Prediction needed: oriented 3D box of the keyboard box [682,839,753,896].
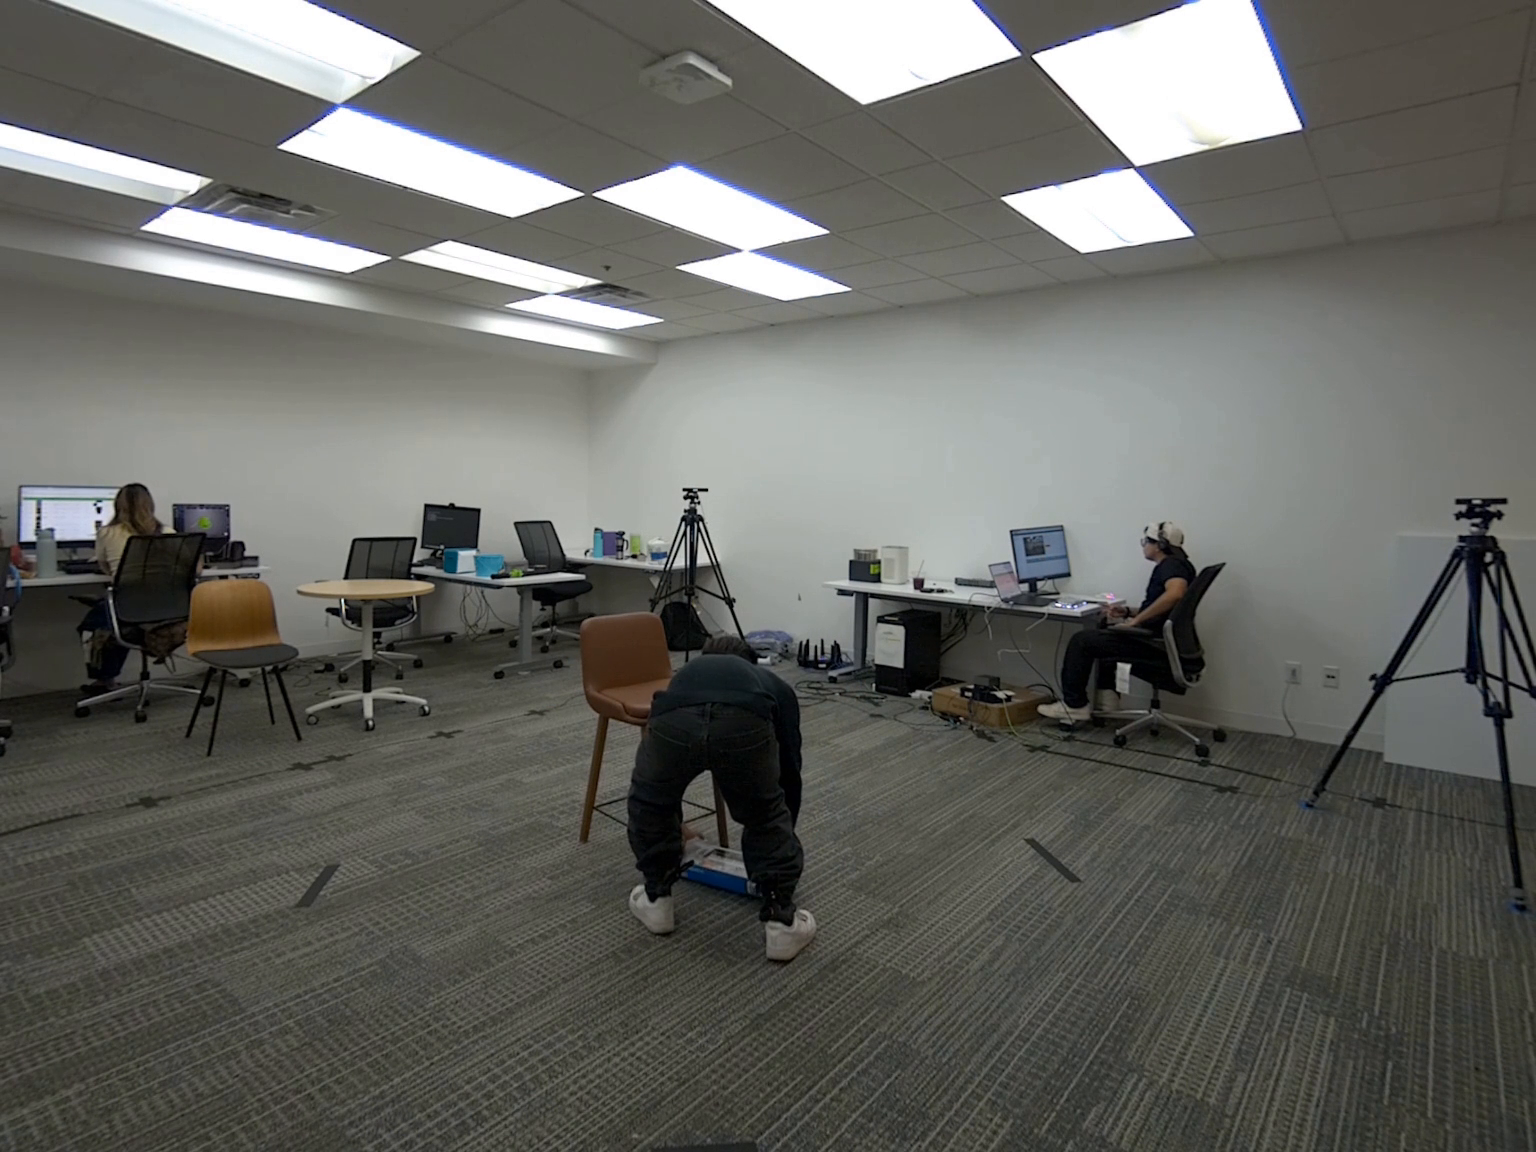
[{"bbox_3d":[-0.140,1.038,3.007,0.450,0.059,0.171,2,6,32],"label":"keyboard box"}]
